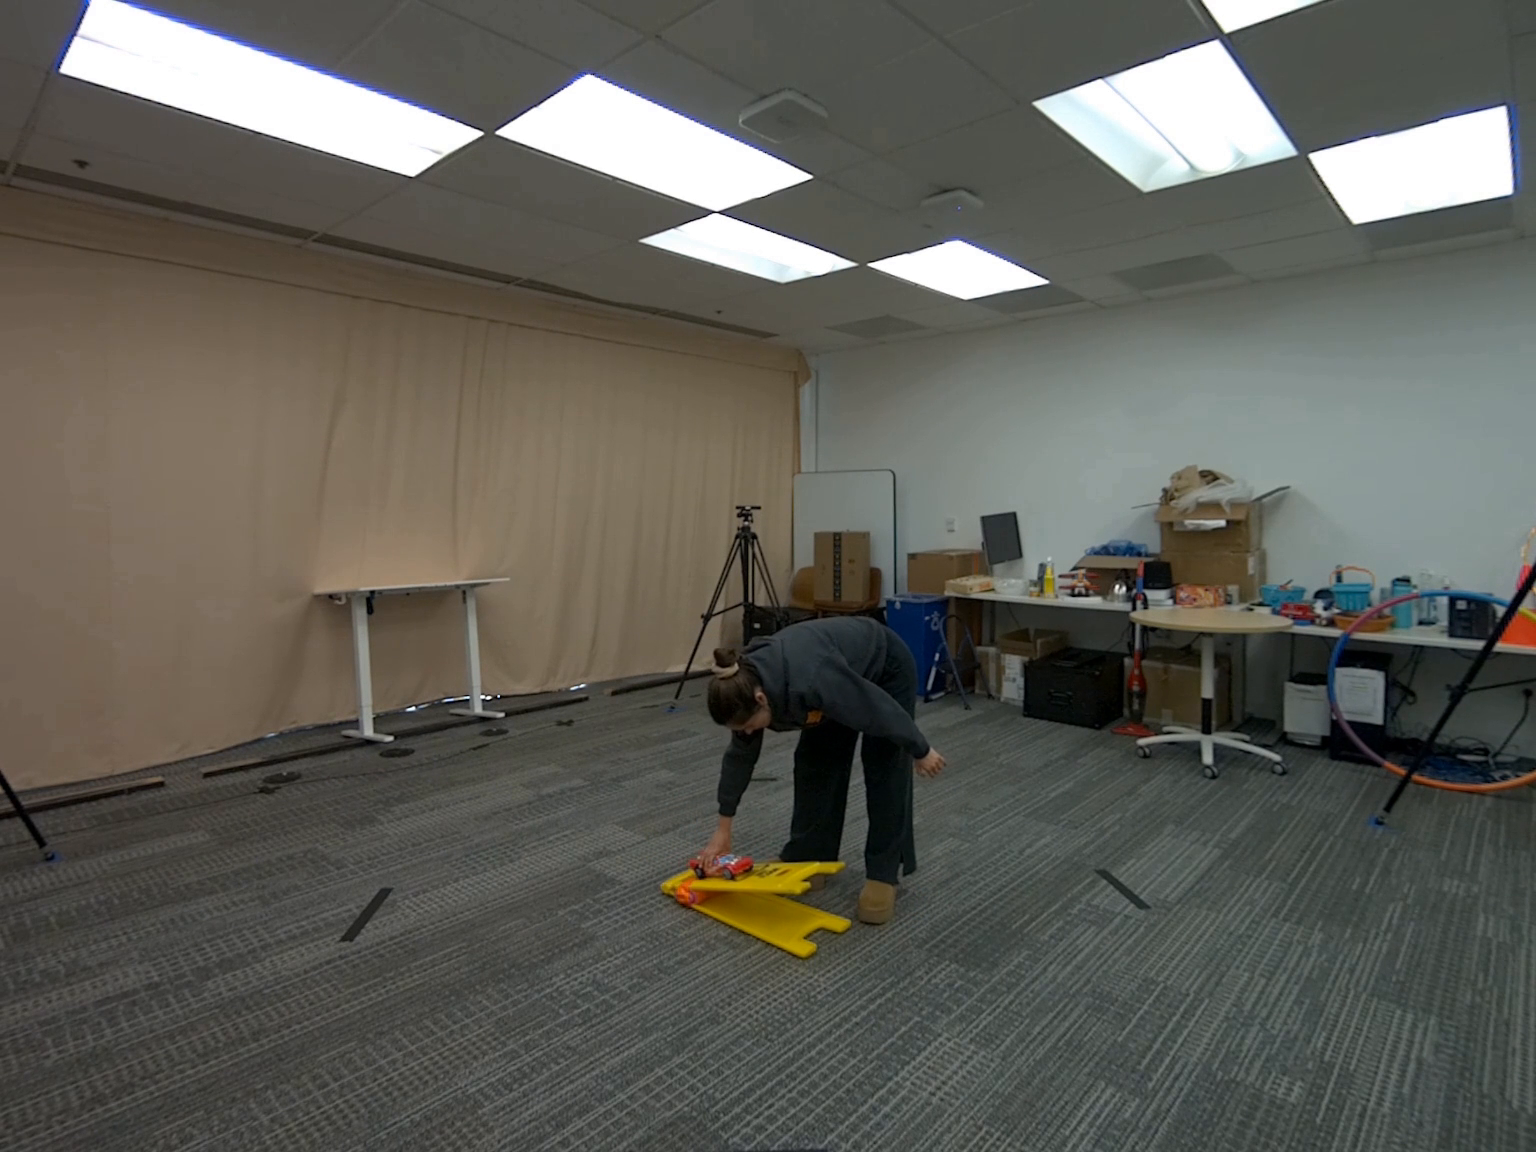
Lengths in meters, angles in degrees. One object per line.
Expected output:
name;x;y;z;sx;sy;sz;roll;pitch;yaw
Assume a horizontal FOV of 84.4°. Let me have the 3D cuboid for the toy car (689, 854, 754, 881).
toy car;-0.145;1.022;2.954;0.262;0.083;0.126;-5;1;45
